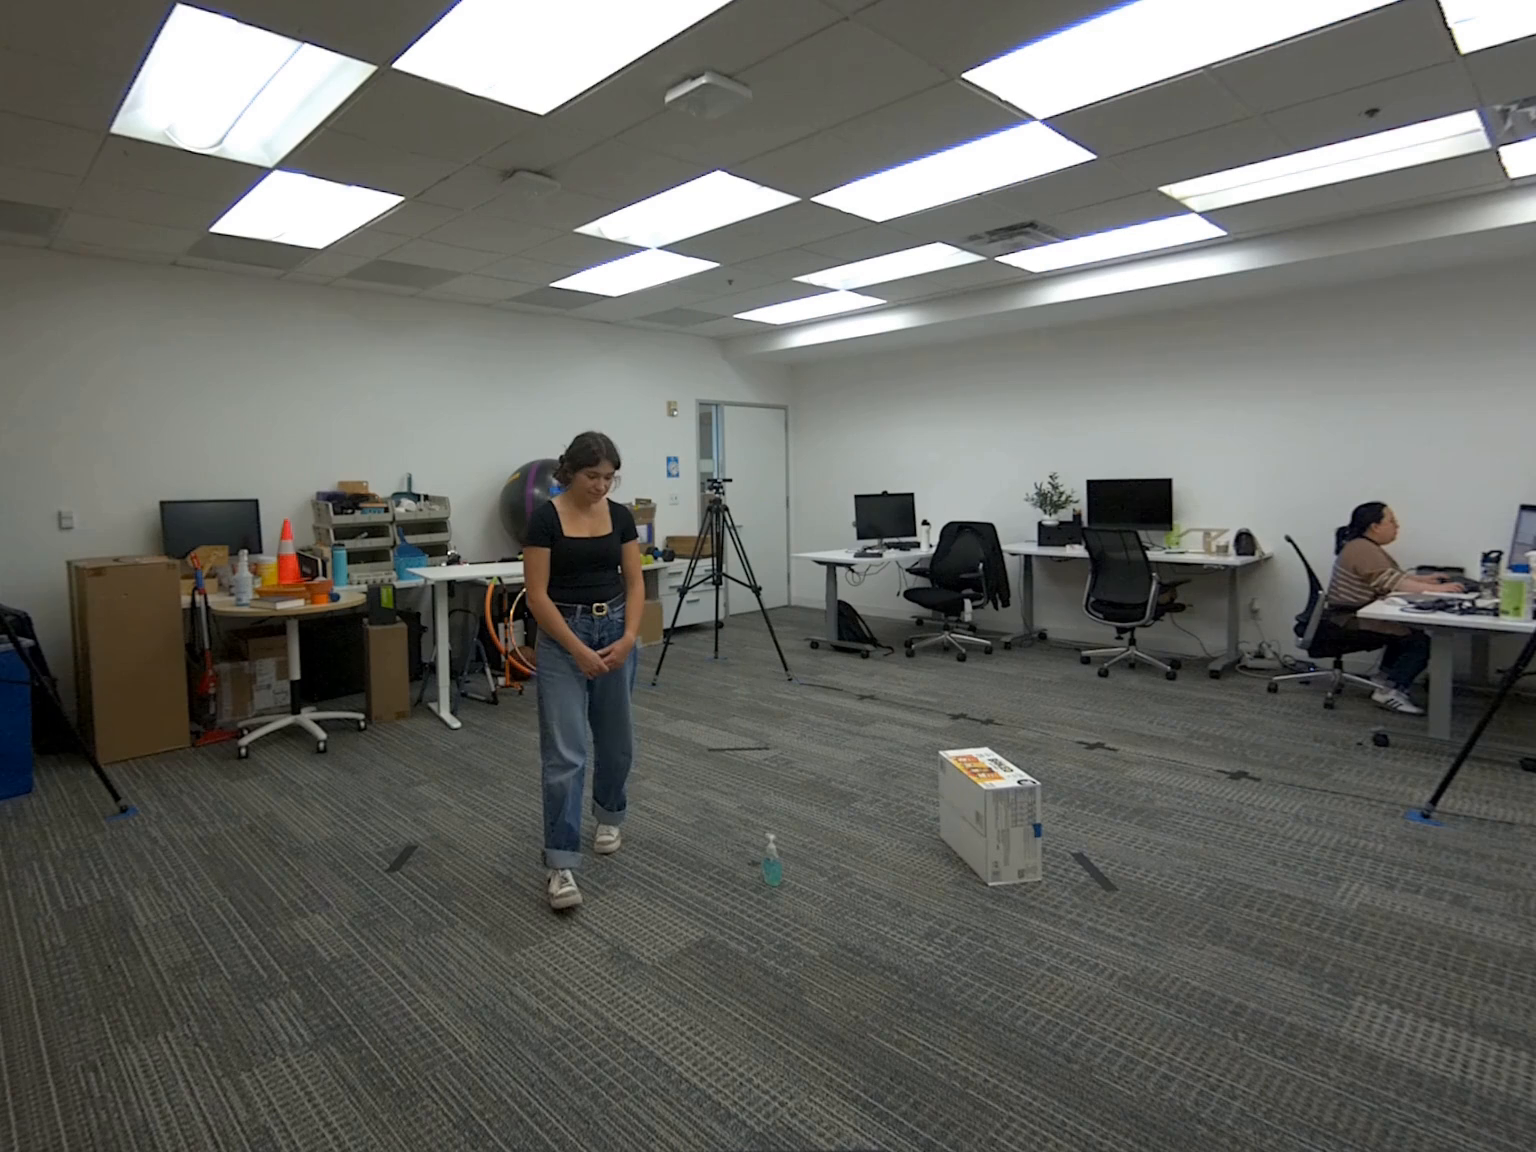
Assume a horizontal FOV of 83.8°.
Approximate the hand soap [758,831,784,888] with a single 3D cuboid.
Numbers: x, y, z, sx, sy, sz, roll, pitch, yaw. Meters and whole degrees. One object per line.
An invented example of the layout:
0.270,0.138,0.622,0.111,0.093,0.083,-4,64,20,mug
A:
0.013,0.980,2.948,0.042,0.167,0.087,-7,10,-41,hand soap
